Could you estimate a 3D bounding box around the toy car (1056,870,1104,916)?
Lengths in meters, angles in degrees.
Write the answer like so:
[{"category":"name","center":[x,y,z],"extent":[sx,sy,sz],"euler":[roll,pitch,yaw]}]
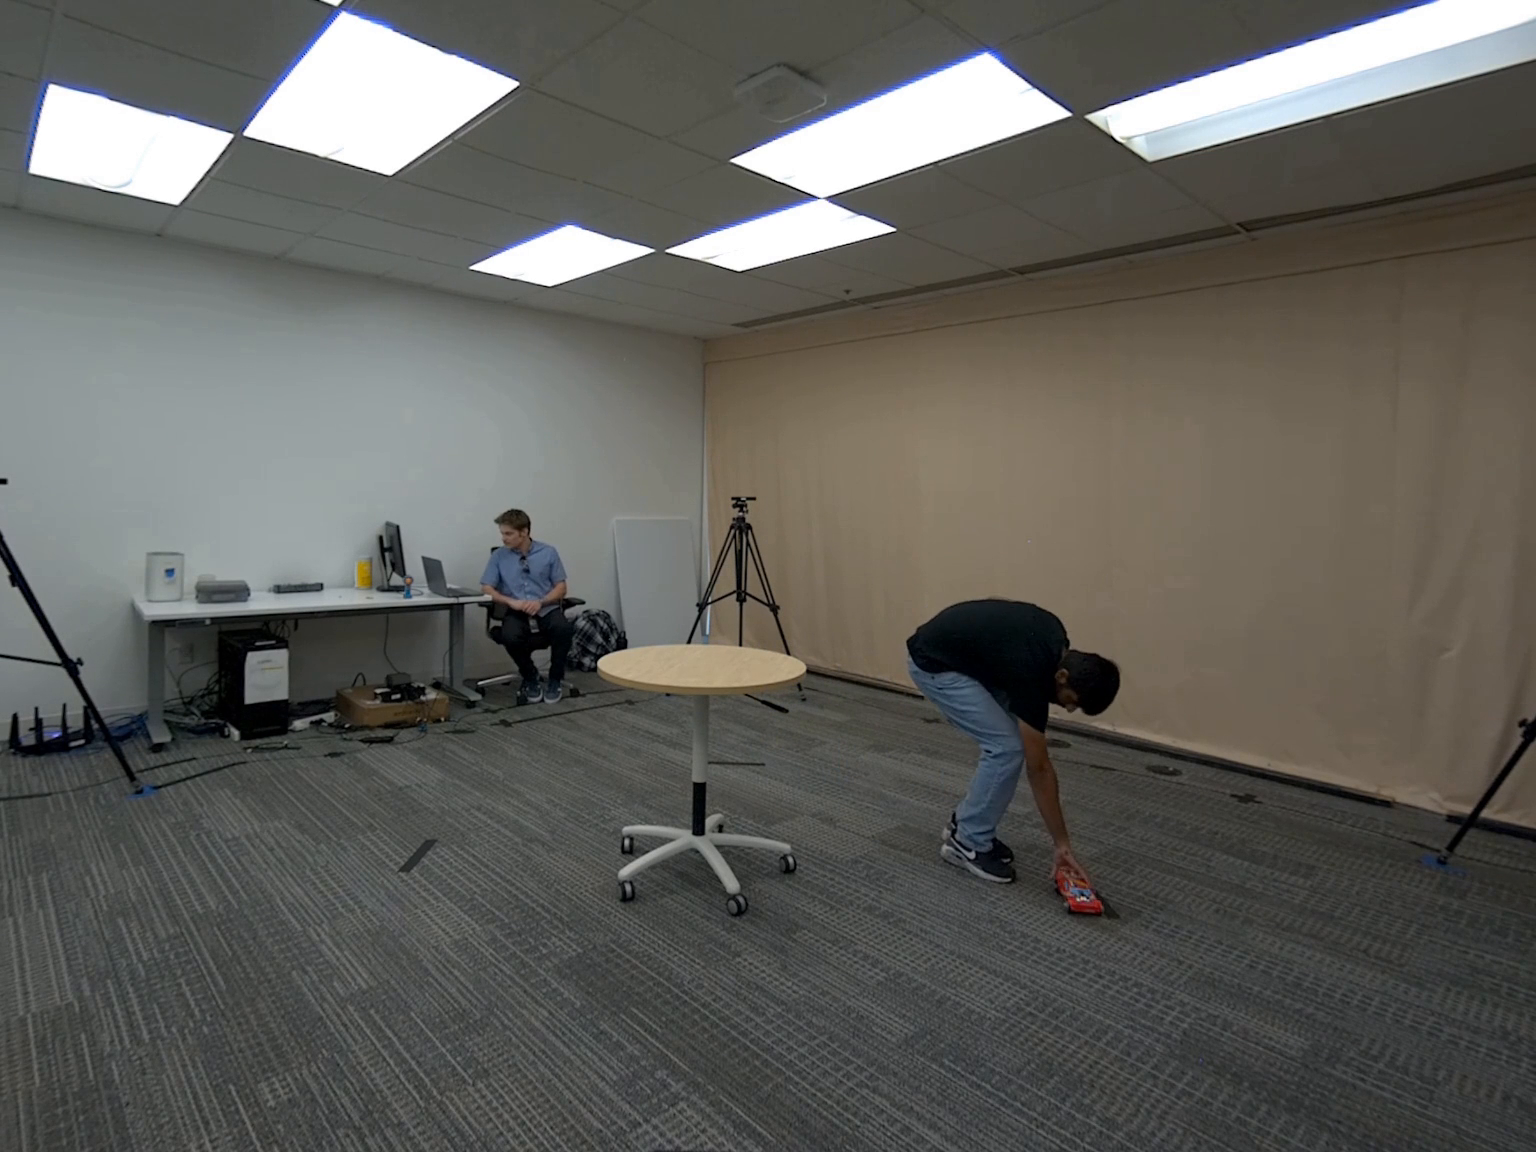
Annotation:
[{"category":"toy car","center":[1.087,1.119,2.980],"extent":[0.131,0.082,0.255],"euler":[3,16,8]}]
